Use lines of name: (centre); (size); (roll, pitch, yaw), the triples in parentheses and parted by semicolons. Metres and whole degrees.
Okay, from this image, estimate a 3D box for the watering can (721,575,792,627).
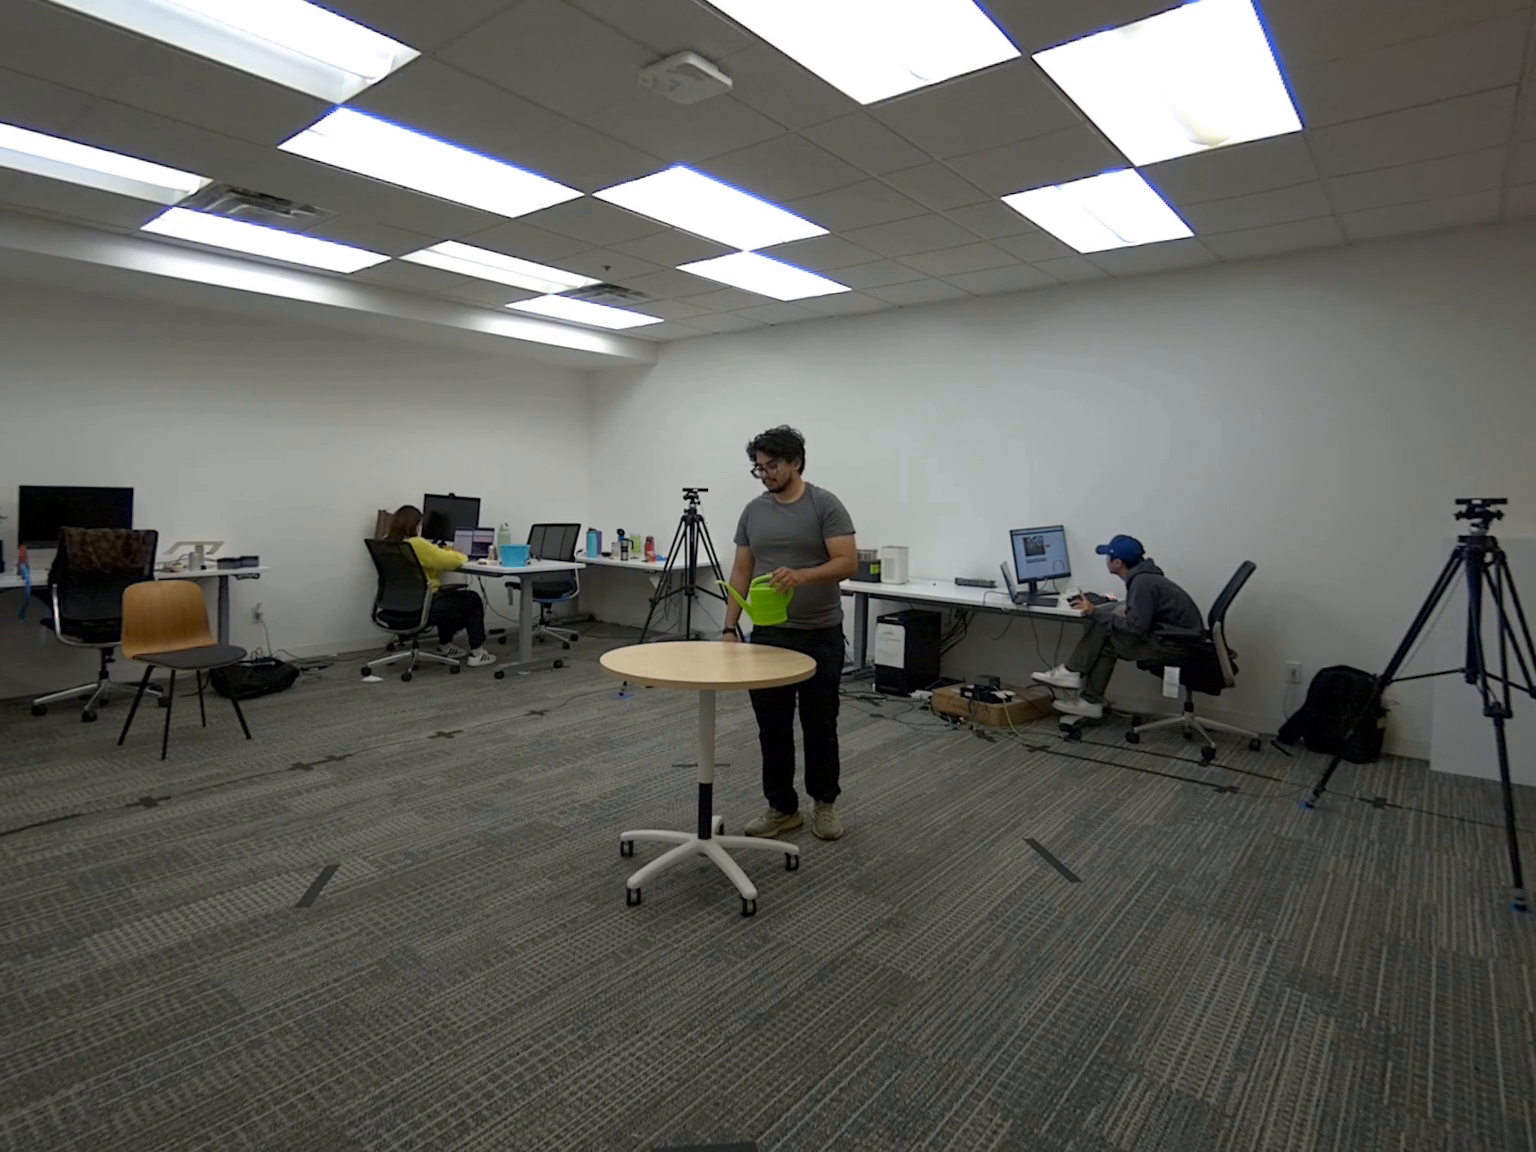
watering can: (-0.051, 0.083, 3.142); (0.283, 0.175, 0.097); (0, 10, 17)
